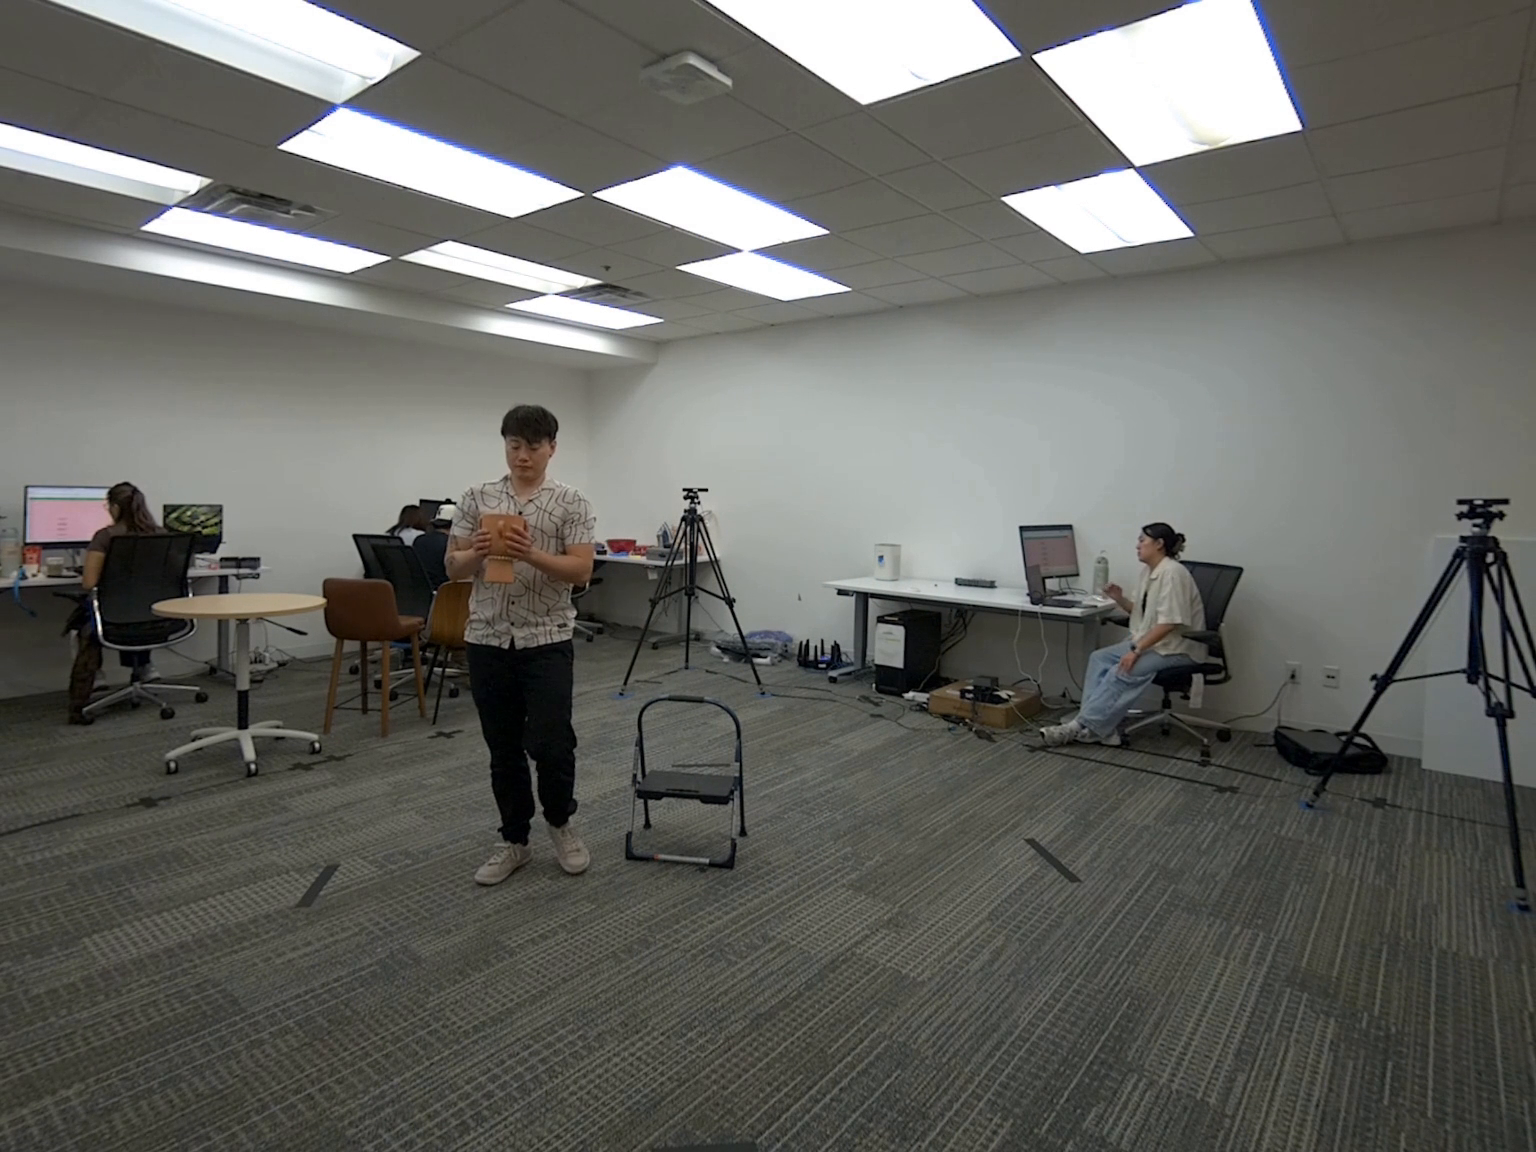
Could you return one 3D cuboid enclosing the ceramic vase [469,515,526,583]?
[{"bbox_3d":[-0.881,-0.091,2.783,0.138,0.220,0.155,-2,-3,24],"label":"ceramic vase"}]
